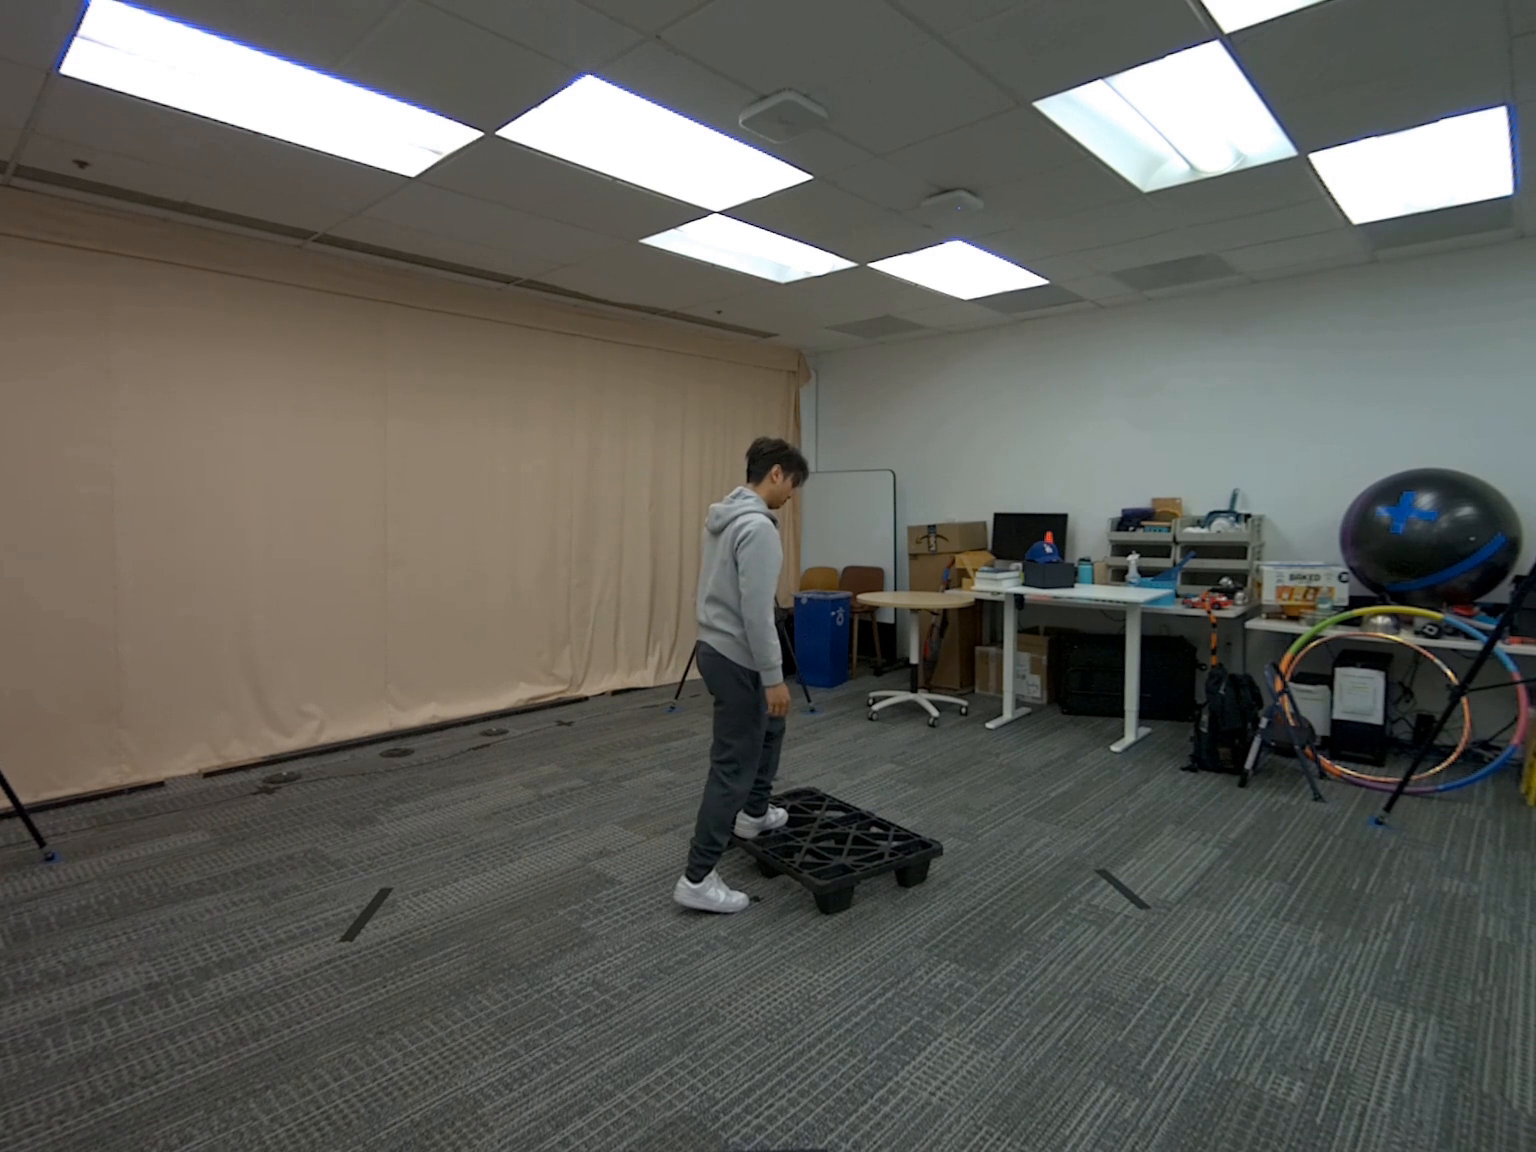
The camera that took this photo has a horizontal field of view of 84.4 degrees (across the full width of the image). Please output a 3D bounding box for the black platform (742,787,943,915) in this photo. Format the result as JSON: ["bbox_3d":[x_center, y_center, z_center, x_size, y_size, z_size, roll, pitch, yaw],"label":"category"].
[{"bbox_3d":[0.181,1.050,3.278,0.588,0.143,0.831,-5,6,-34],"label":"black platform"}]
